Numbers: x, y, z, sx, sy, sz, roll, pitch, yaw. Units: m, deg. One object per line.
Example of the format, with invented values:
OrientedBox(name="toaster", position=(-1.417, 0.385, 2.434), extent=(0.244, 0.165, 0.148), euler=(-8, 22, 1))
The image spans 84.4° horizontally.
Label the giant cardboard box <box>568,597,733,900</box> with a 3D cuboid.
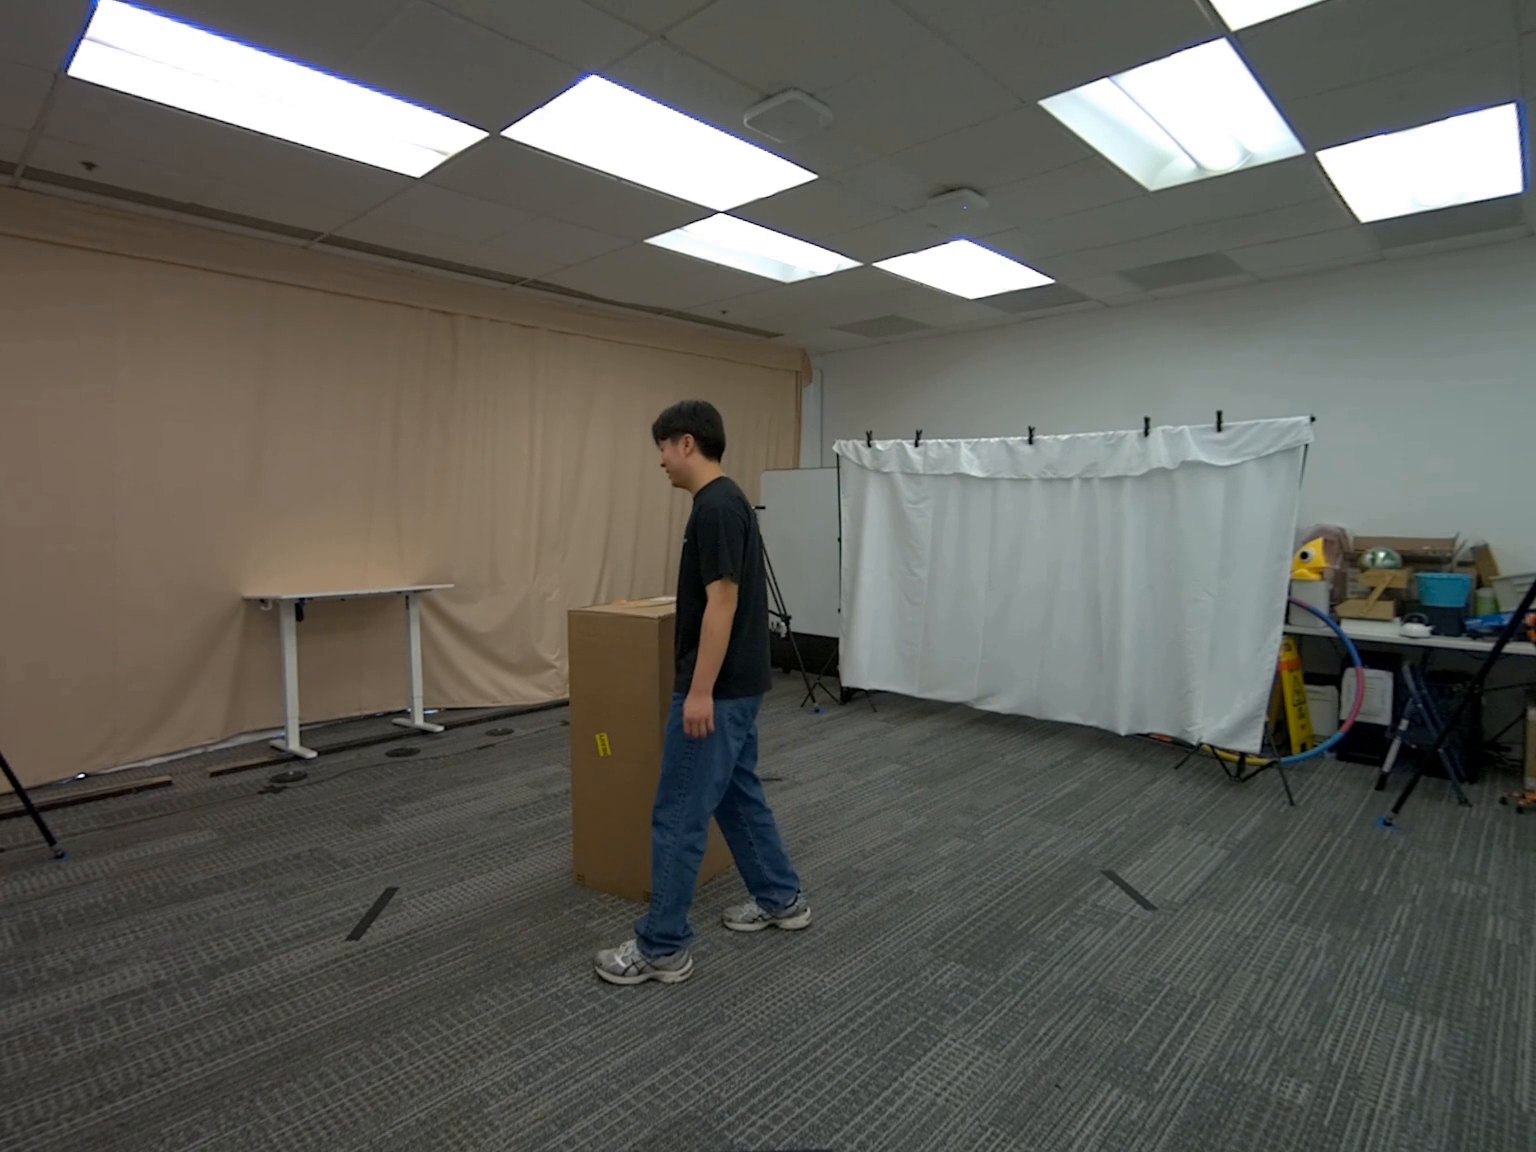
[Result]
OrientedBox(name="giant cardboard box", position=(-0.409, 0.613, 3.229), extent=(0.460, 1.025, 0.568), euler=(1, 3, 32))
